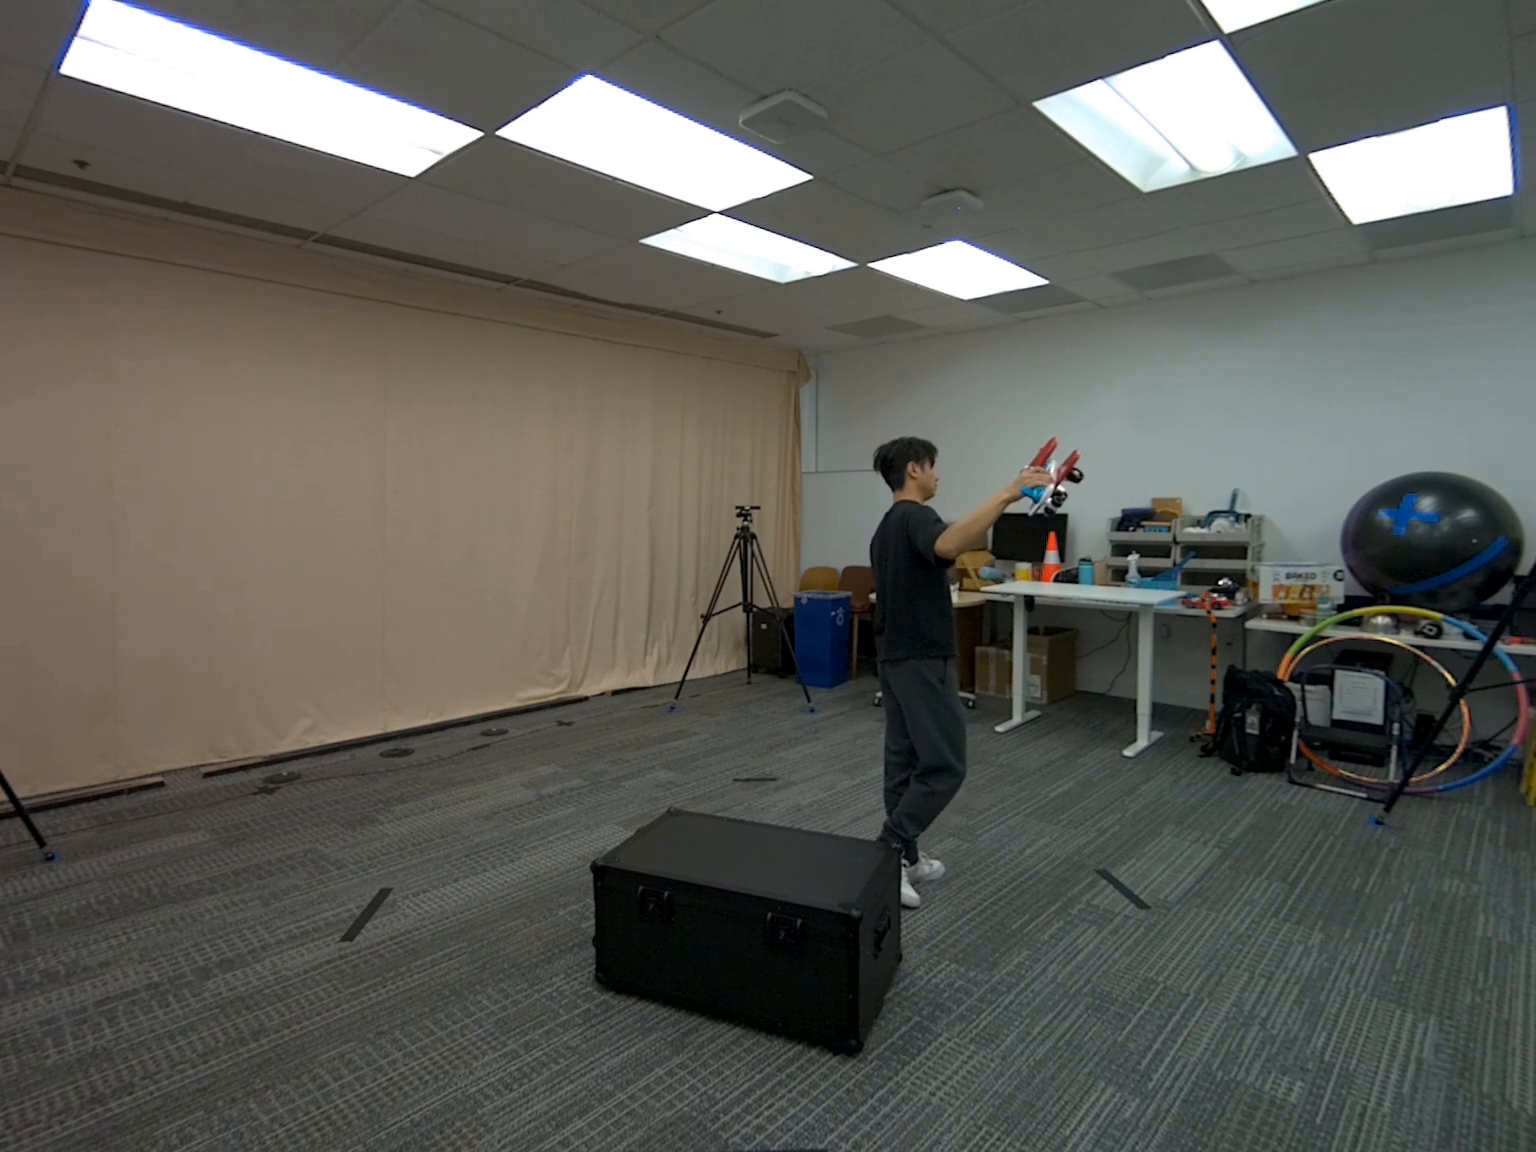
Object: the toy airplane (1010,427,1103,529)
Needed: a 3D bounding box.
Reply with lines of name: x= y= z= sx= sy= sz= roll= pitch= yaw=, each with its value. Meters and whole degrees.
toy airplane: x=0.874 y=-0.298 z=2.624 sx=0.159 sy=0.251 sz=0.254 roll=39 pitch=13 yaw=14
